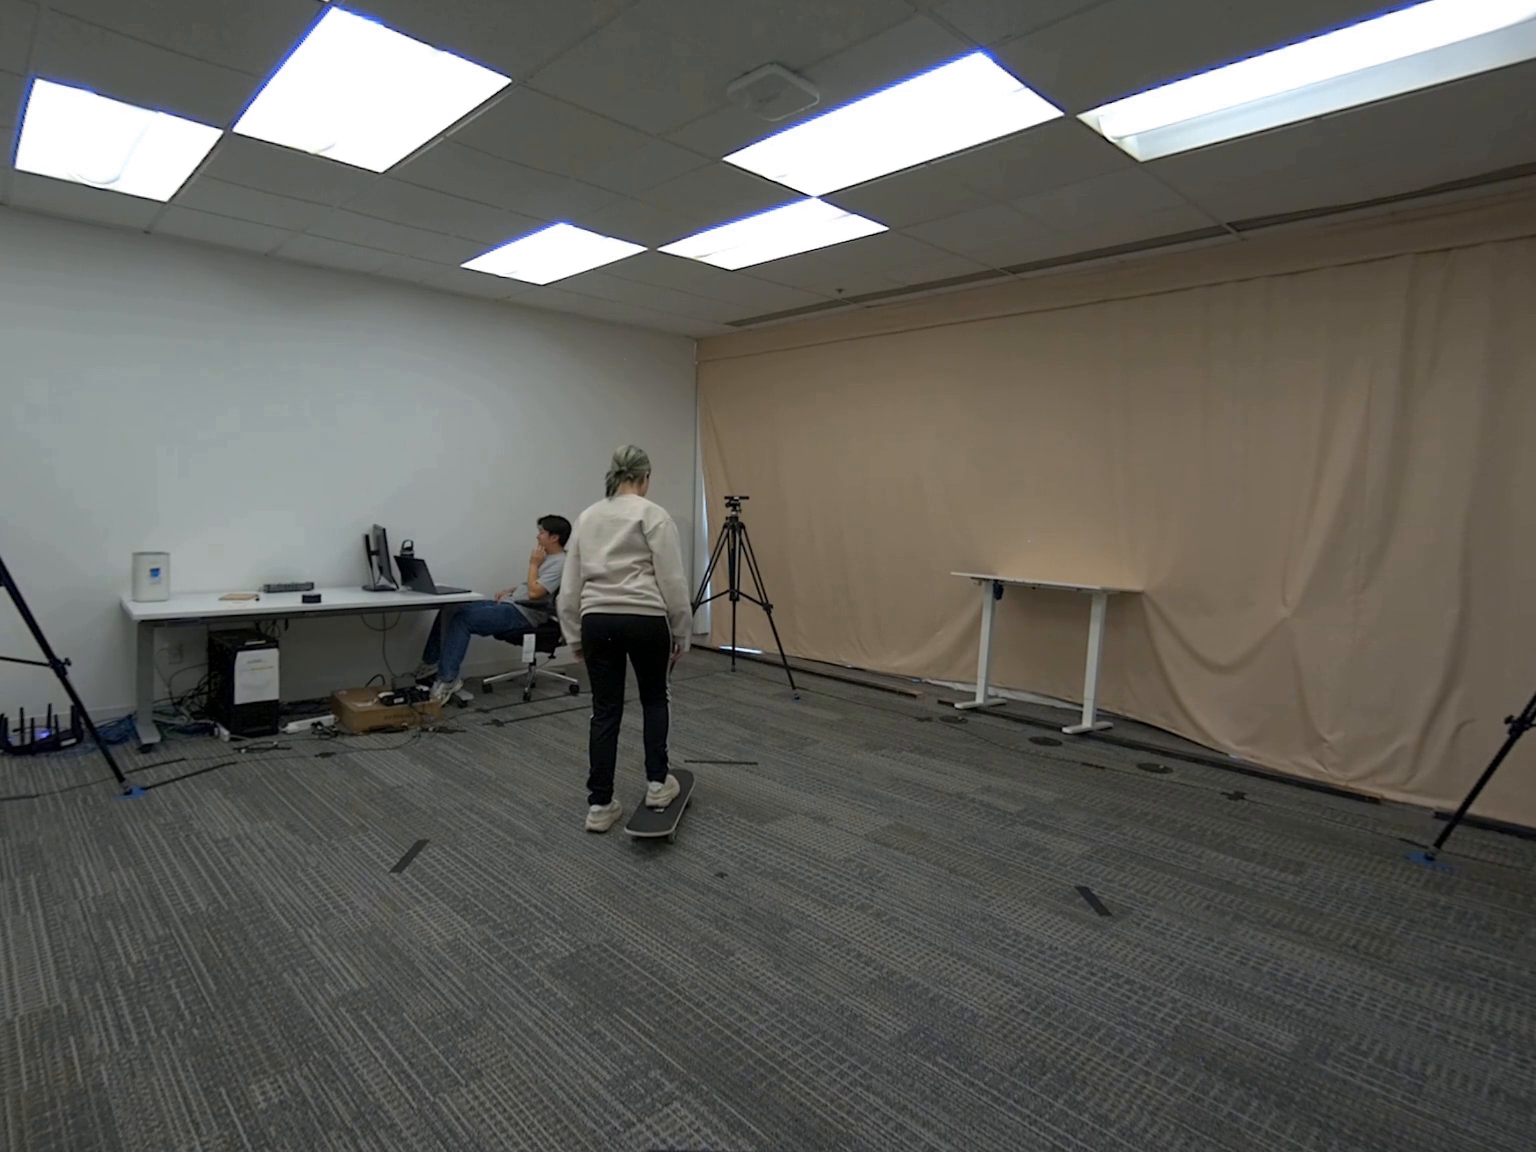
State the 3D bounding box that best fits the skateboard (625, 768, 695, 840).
[{"bbox_3d":[-0.459,1.001,3.587,0.194,0.110,0.784,0,5,3],"label":"skateboard"}]
